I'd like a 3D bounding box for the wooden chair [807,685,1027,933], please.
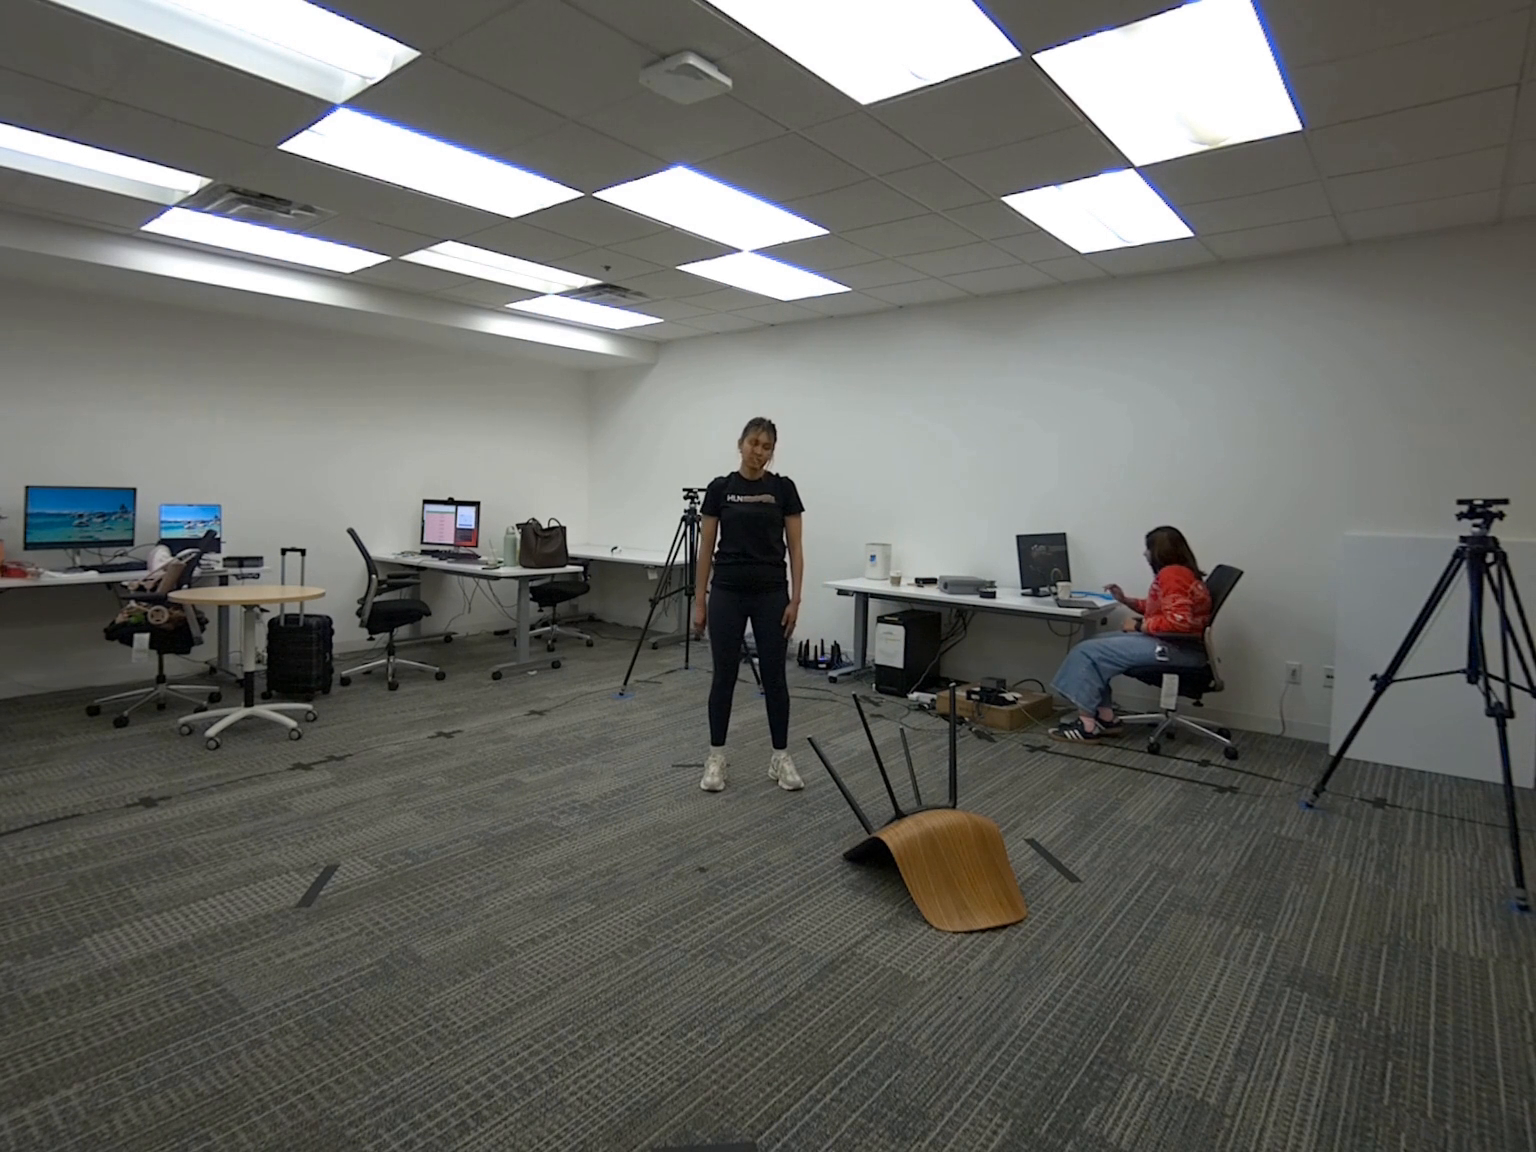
[{"bbox_3d":[0.532,0.911,3.161,0.468,0.907,0.517,-1,-36,-23],"label":"wooden chair"}]
